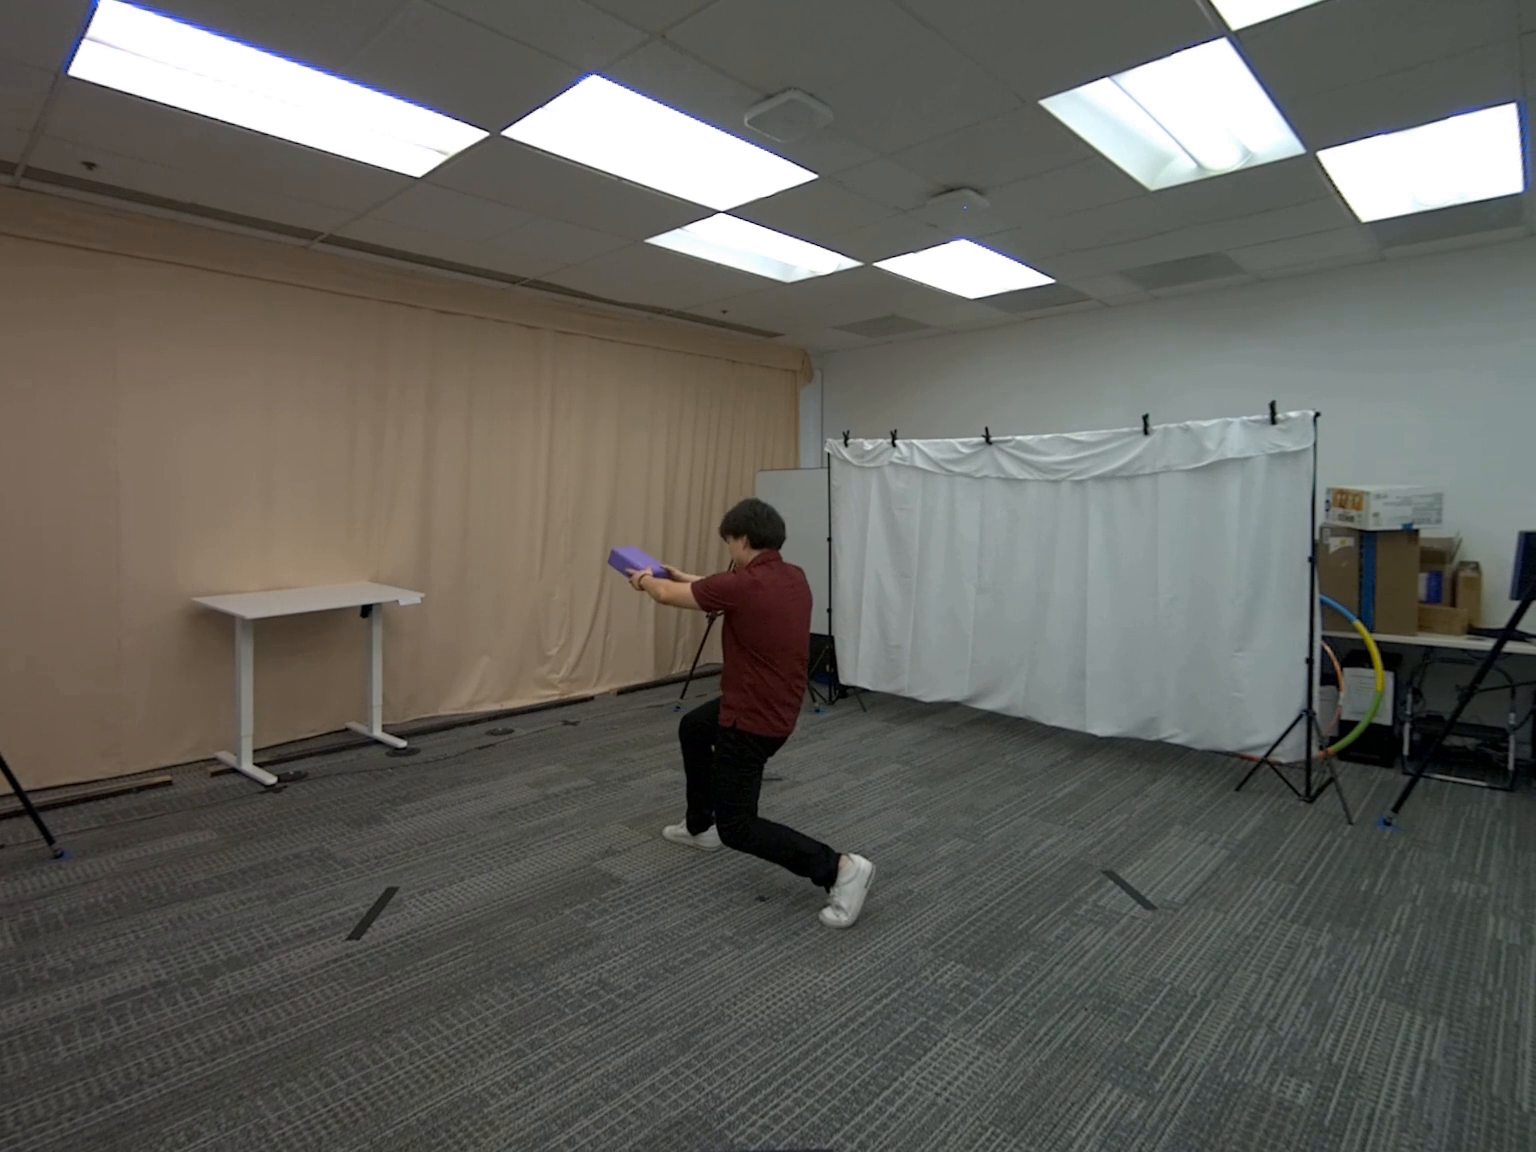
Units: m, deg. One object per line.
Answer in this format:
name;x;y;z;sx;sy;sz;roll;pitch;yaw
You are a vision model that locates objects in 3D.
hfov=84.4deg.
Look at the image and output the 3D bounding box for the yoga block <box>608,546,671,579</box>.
yoga block;-0.535;-0.035;3.524;0.237;0.076;0.145;30;21;32
